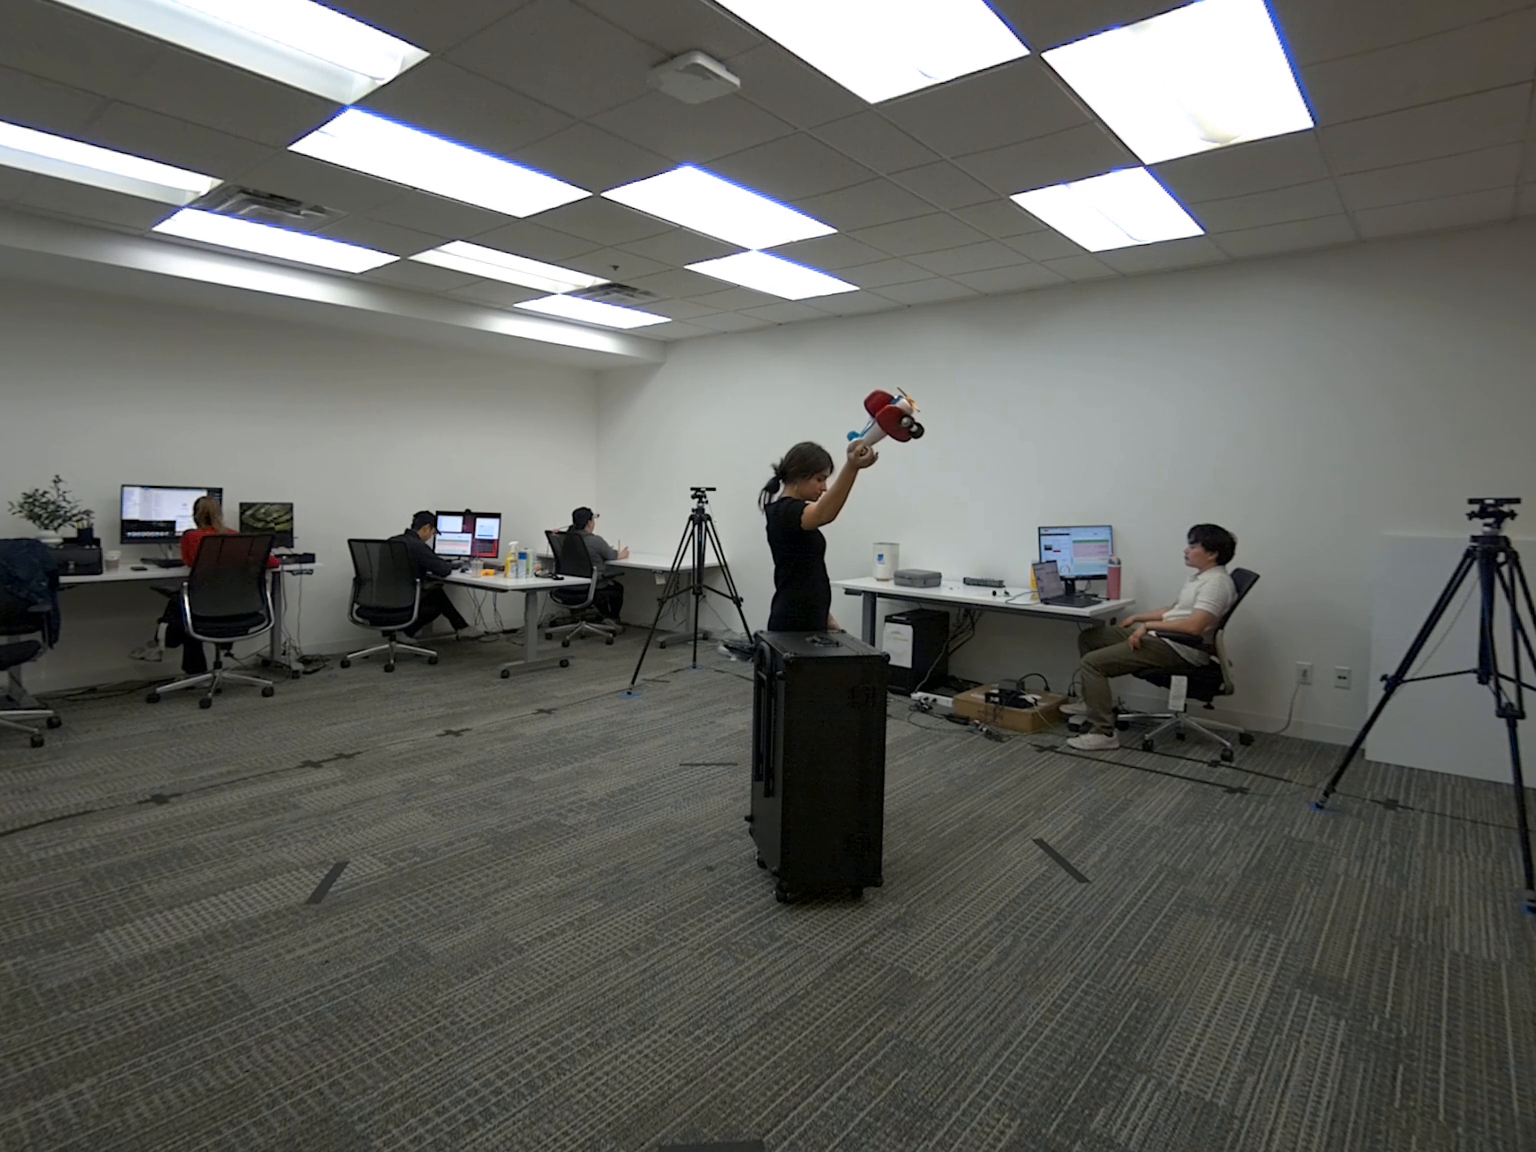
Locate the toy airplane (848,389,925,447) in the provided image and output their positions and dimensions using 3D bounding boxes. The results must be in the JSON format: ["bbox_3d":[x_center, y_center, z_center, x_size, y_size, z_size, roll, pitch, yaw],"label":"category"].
[{"bbox_3d":[0.378,-0.521,2.897,0.259,0.161,0.244,-15,-26,-1],"label":"toy airplane"}]
